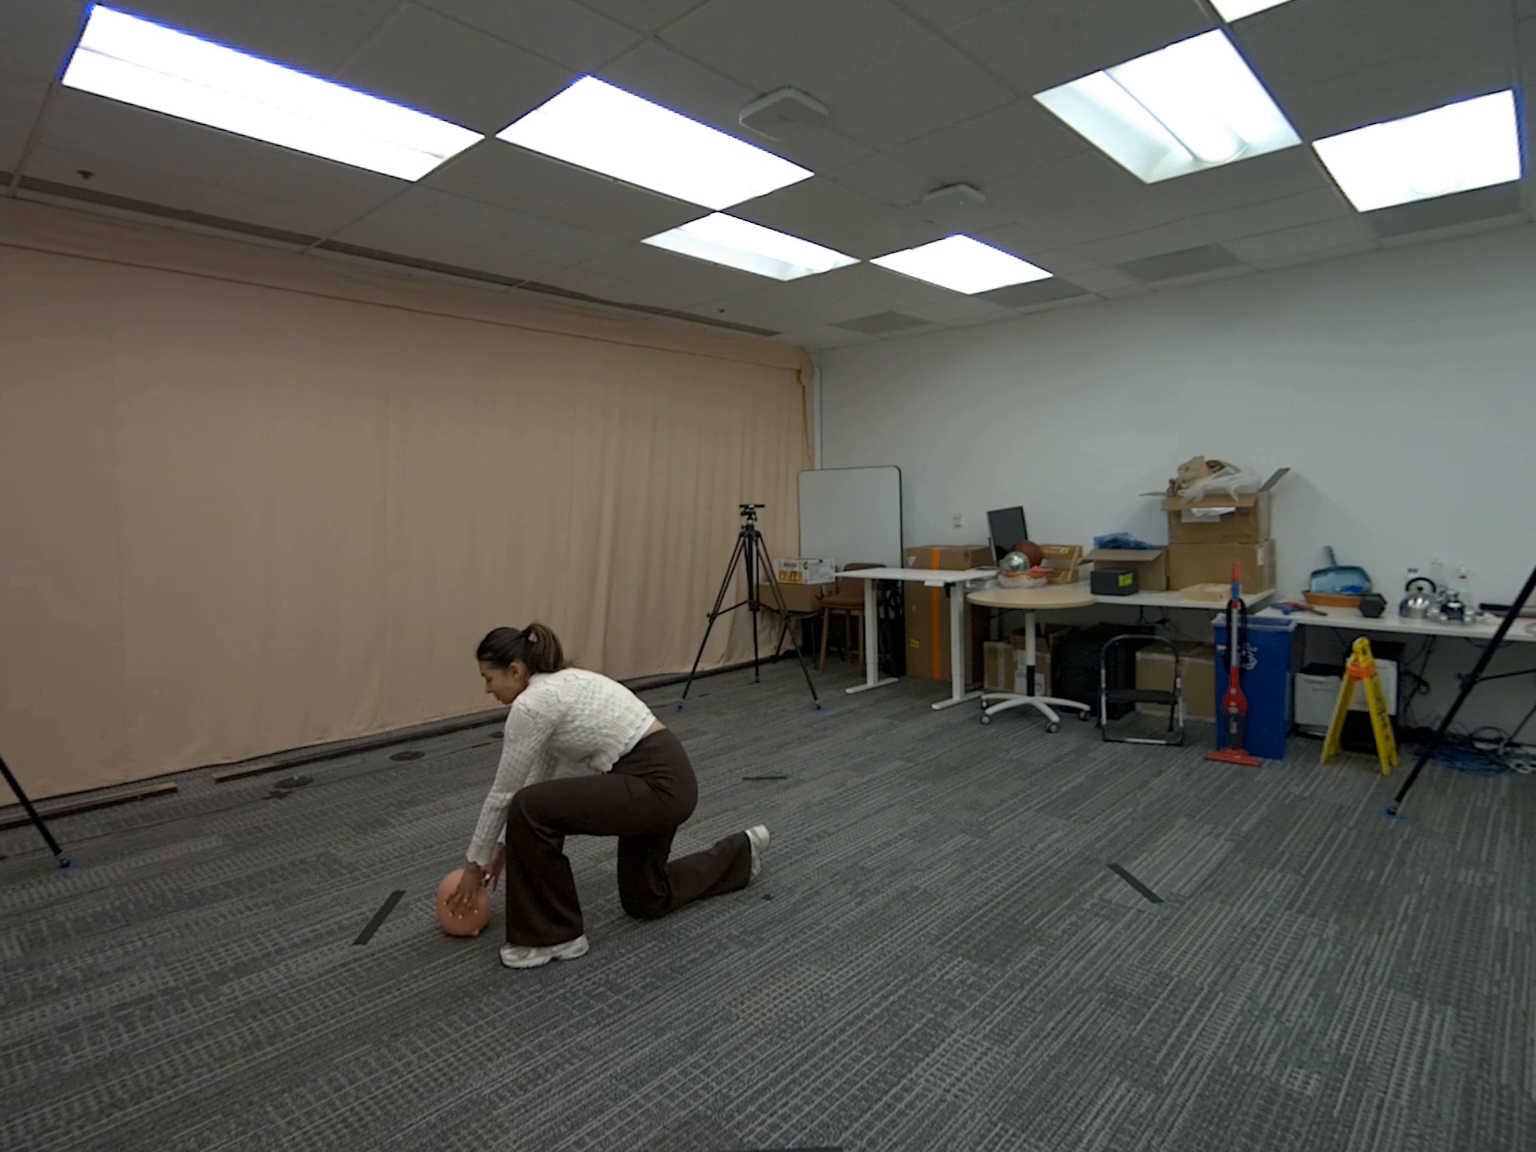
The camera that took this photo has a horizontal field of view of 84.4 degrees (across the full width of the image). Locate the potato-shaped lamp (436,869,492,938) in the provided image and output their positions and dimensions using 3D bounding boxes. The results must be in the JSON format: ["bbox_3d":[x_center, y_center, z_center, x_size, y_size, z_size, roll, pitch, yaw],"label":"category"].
[{"bbox_3d":[-1.011,1.080,2.801,0.172,0.198,0.163,-4,-3,5],"label":"potato-shaped lamp"}]
